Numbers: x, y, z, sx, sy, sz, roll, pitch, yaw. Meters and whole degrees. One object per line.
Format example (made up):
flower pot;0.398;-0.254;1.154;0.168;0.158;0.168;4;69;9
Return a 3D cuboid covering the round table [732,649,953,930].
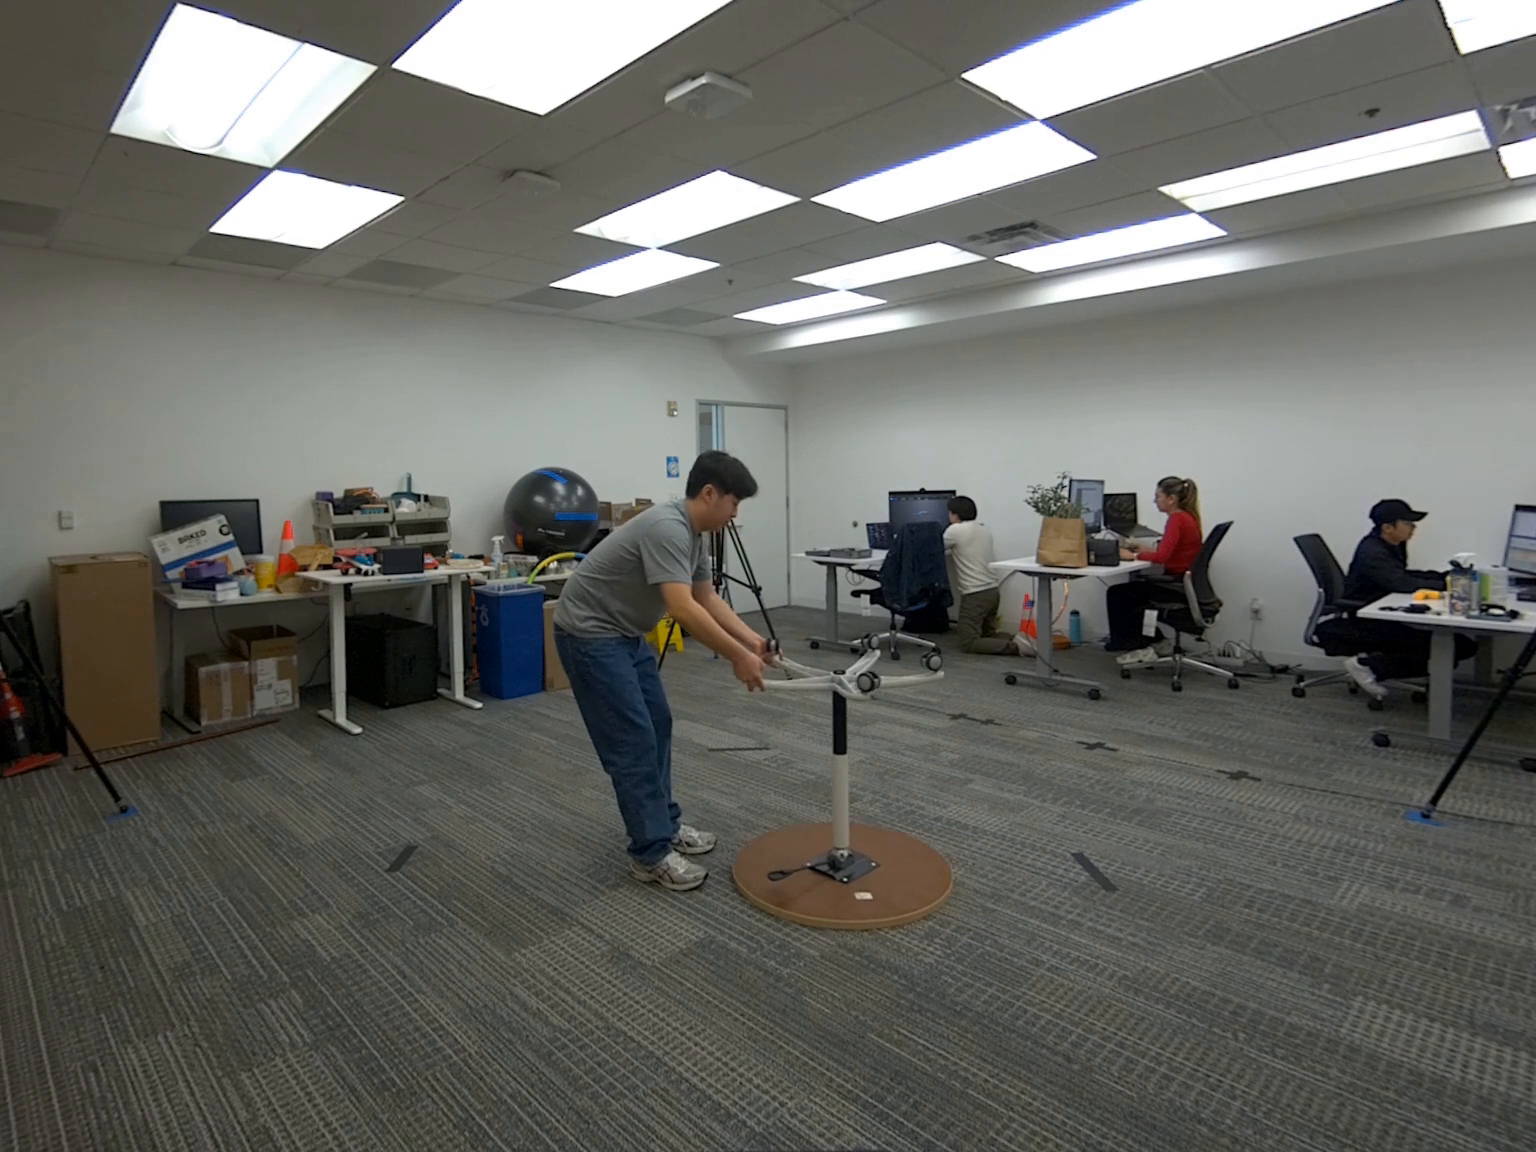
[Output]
round table;0.251;0.652;2.977;0.763;0.791;0.768;-1;5;-2
